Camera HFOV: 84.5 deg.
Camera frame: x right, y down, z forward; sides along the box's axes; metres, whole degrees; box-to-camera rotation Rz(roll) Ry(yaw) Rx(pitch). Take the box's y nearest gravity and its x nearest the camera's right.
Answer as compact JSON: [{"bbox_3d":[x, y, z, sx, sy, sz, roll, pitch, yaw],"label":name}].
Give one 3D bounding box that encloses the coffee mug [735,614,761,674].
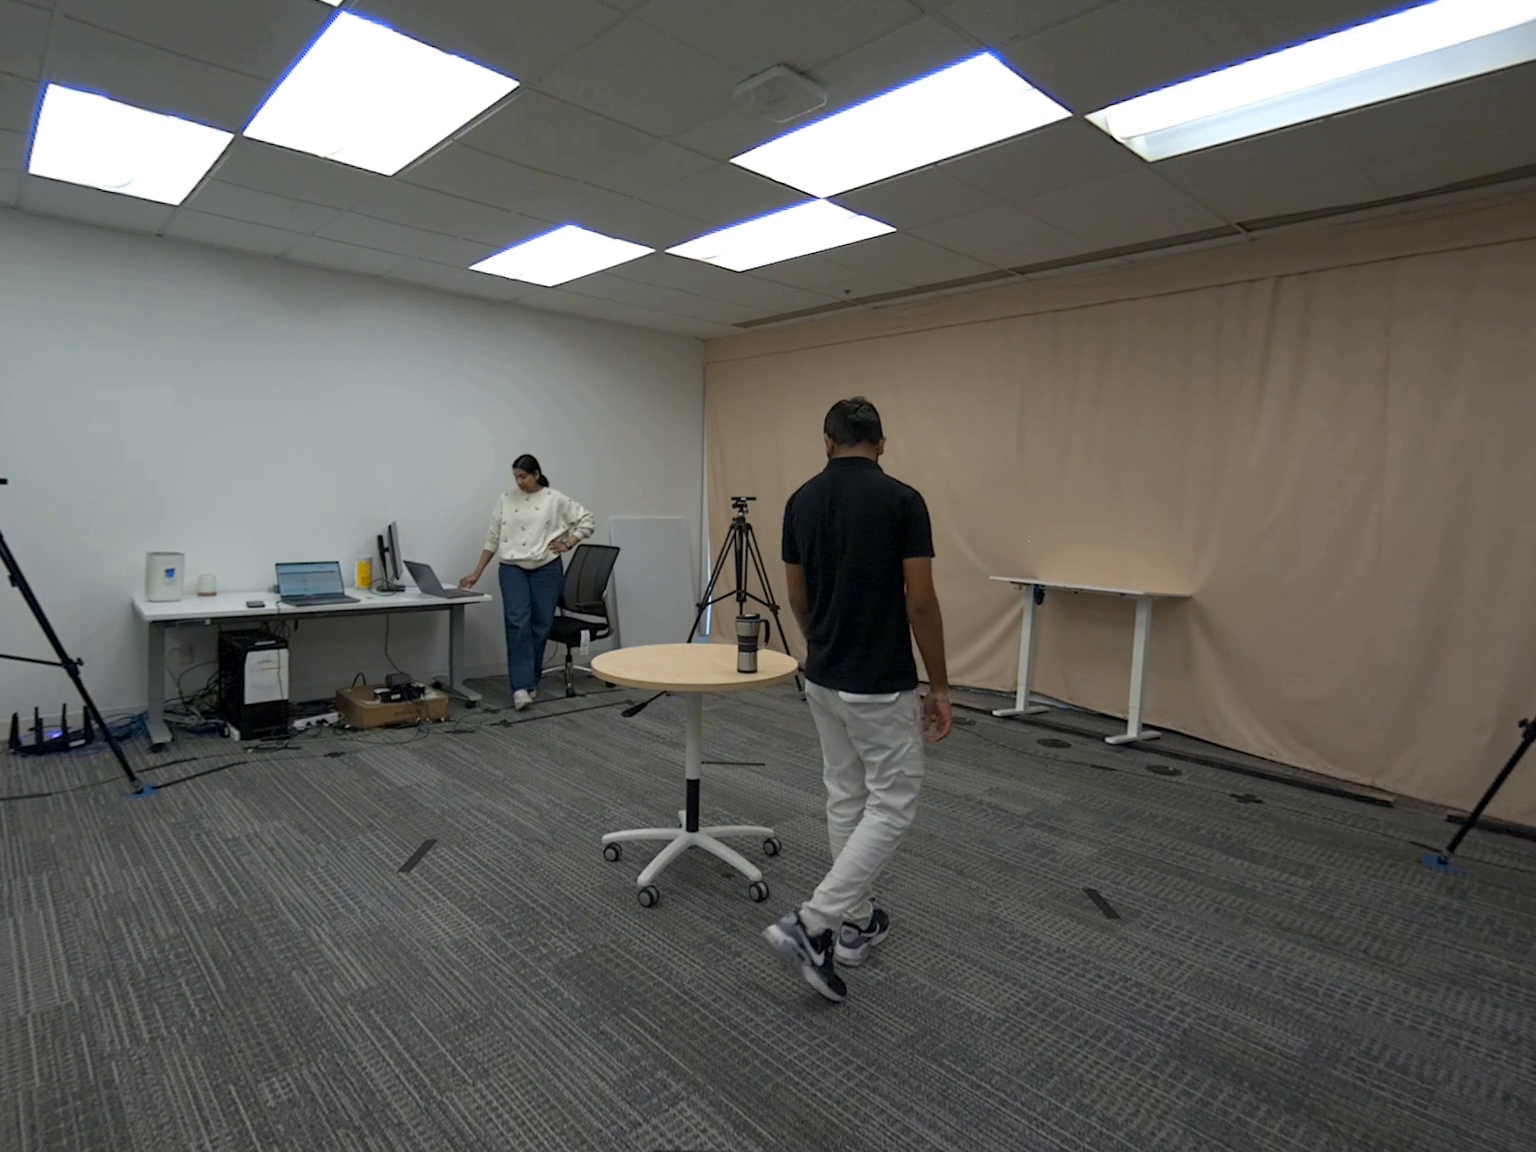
[{"bbox_3d":[-0.061,0.237,2.939,0.123,0.203,0.087,-1,1,12],"label":"coffee mug"}]
